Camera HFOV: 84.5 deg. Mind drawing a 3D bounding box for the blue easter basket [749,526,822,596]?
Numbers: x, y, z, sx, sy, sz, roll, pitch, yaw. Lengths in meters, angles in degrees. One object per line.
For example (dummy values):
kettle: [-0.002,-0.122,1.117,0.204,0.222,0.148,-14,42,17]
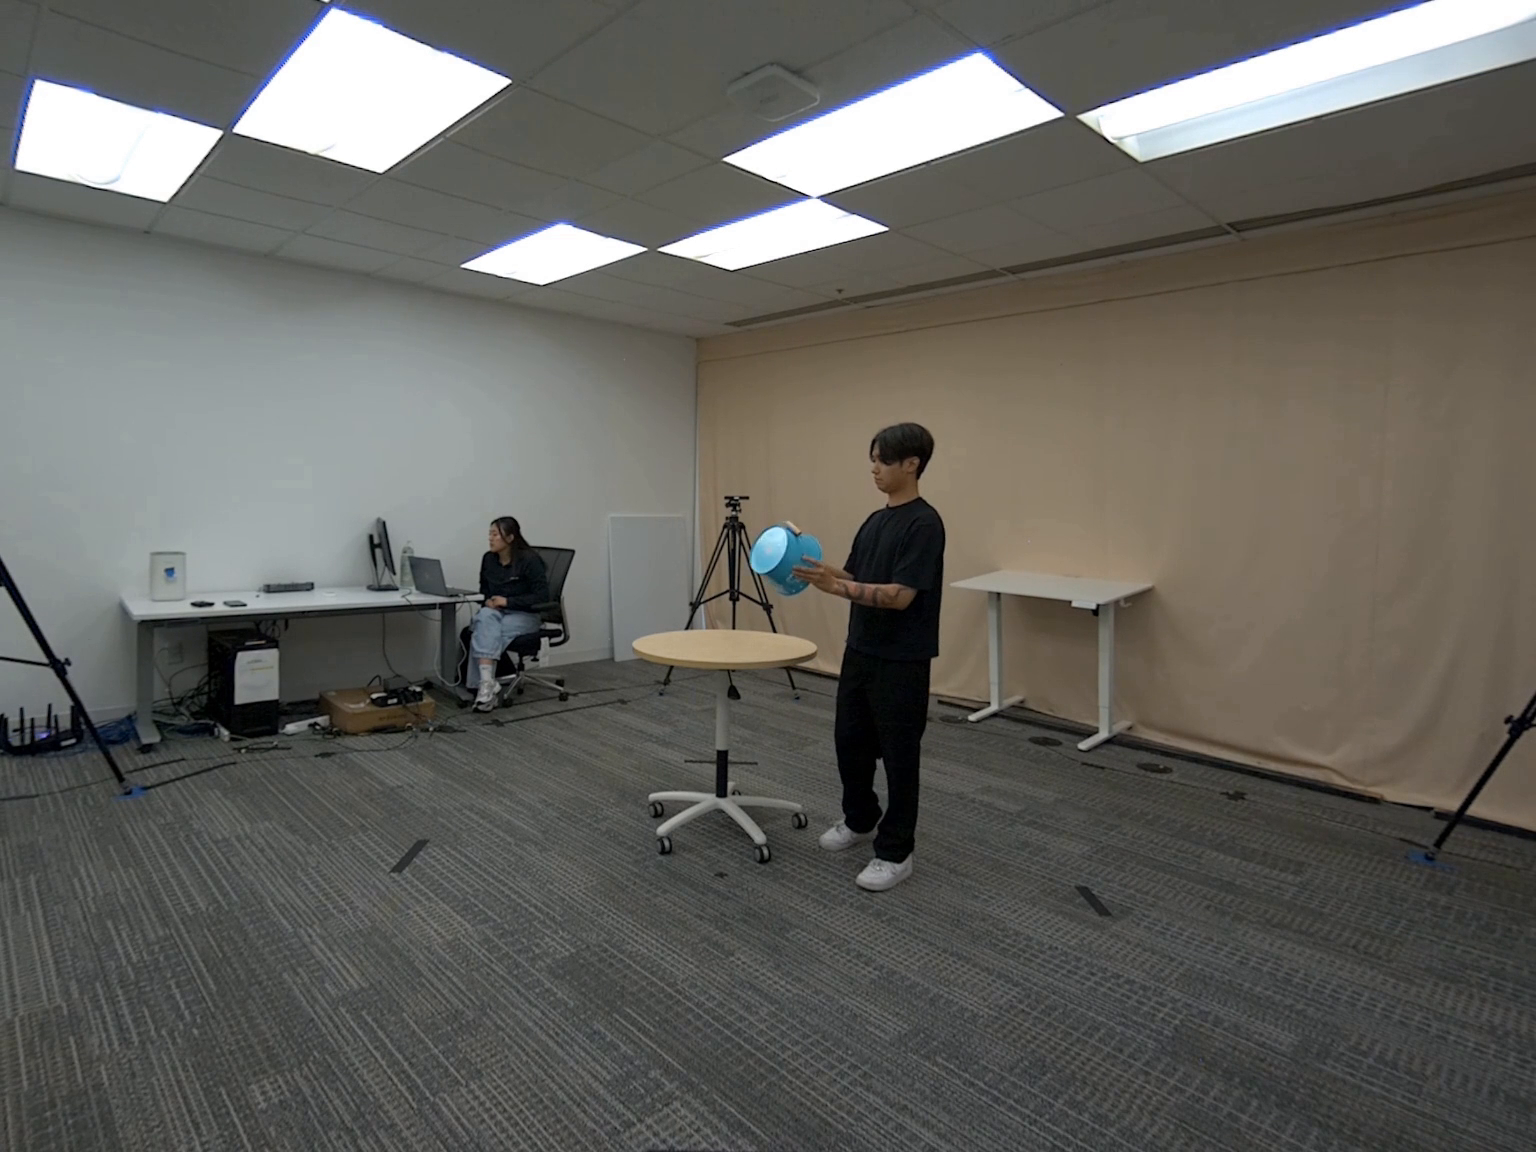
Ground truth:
blue easter basket: [0.040,-0.067,2.982,0.151,0.245,0.250,29,-14,-37]
